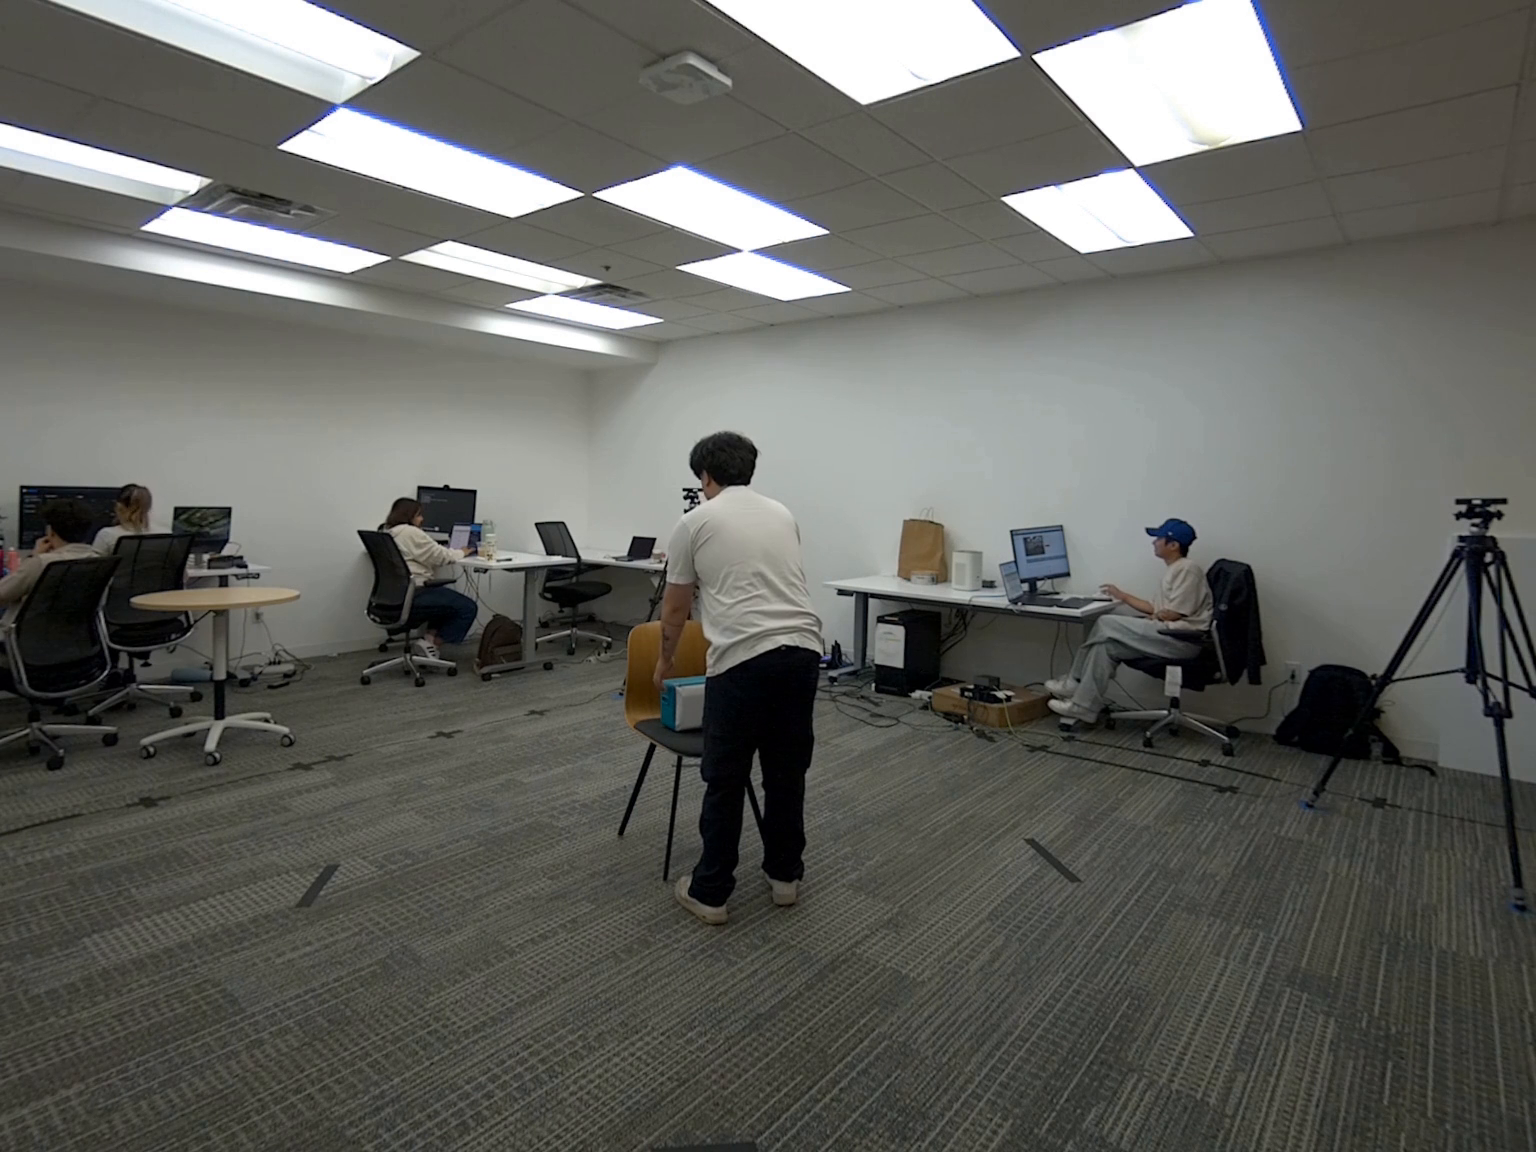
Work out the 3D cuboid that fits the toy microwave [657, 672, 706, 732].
[{"bbox_3d":[-0.267,0.477,3.252,0.279,0.184,0.156,-1,0,-26],"label":"toy microwave"}]
